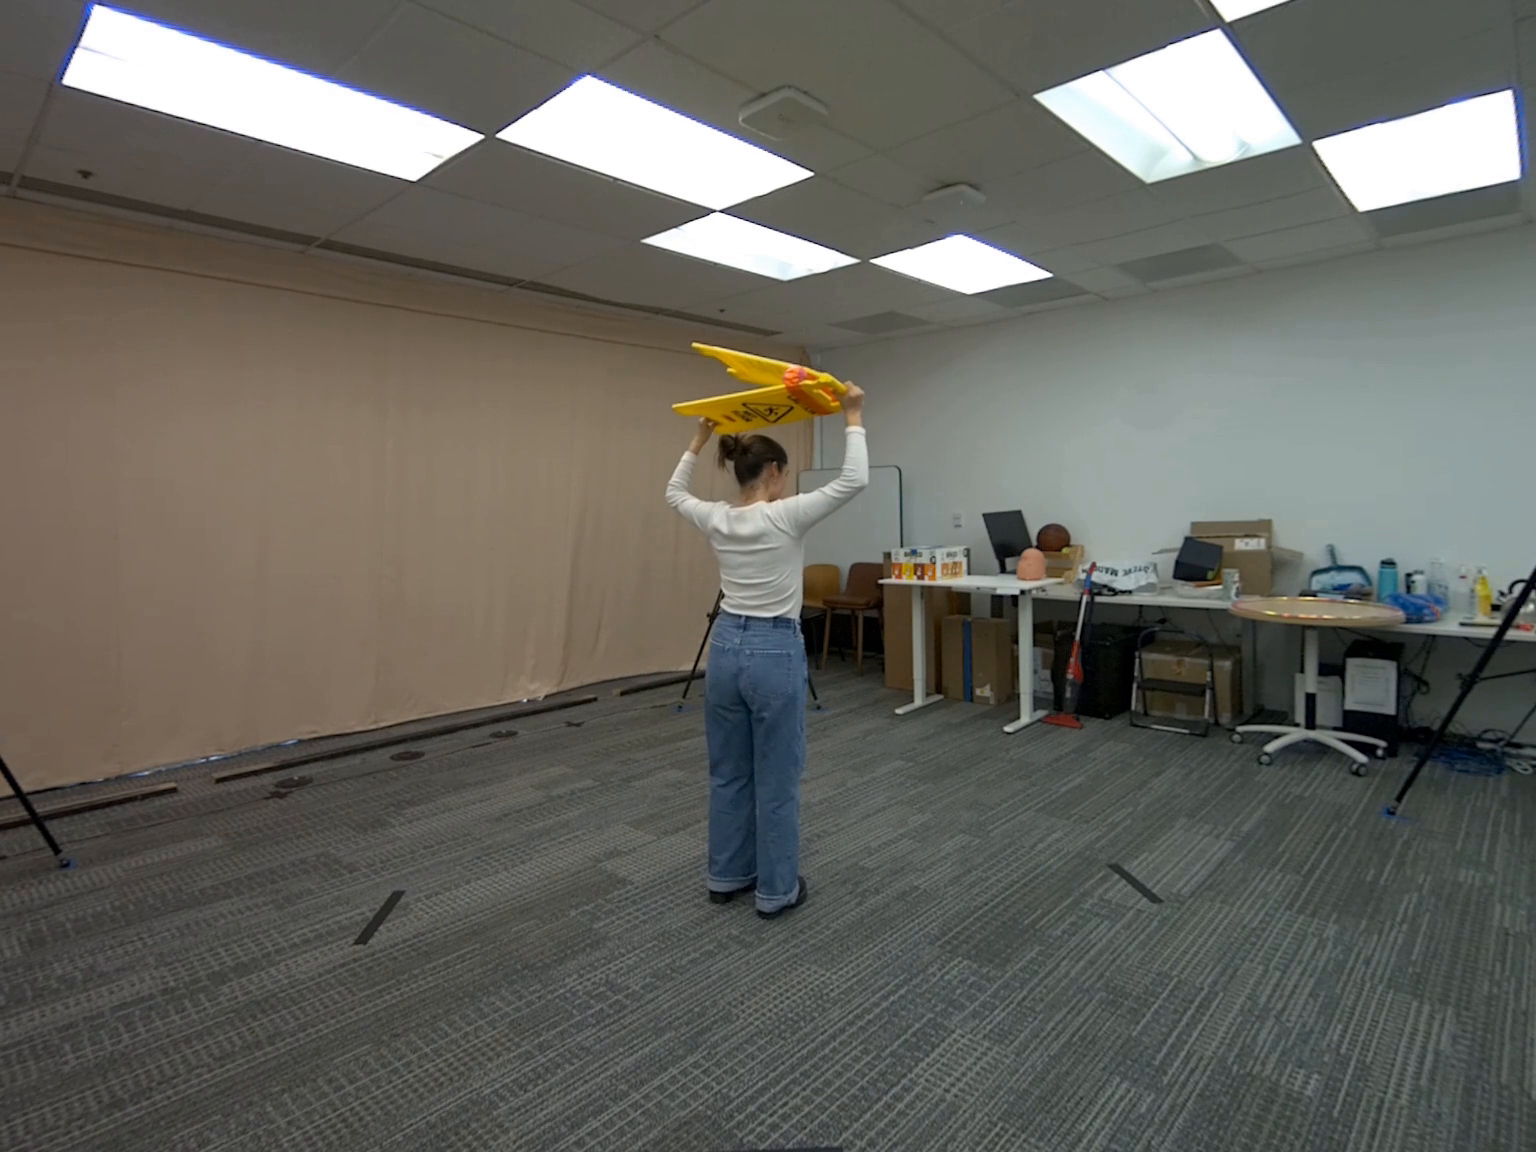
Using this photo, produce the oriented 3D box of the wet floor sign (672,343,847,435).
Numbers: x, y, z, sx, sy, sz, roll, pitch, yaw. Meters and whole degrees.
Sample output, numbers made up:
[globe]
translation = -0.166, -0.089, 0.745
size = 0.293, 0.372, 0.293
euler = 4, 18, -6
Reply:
[wet floor sign]
translation = 0.016, -0.639, 2.900
size = 0.669, 0.290, 0.272
euler = 11, -8, 40
